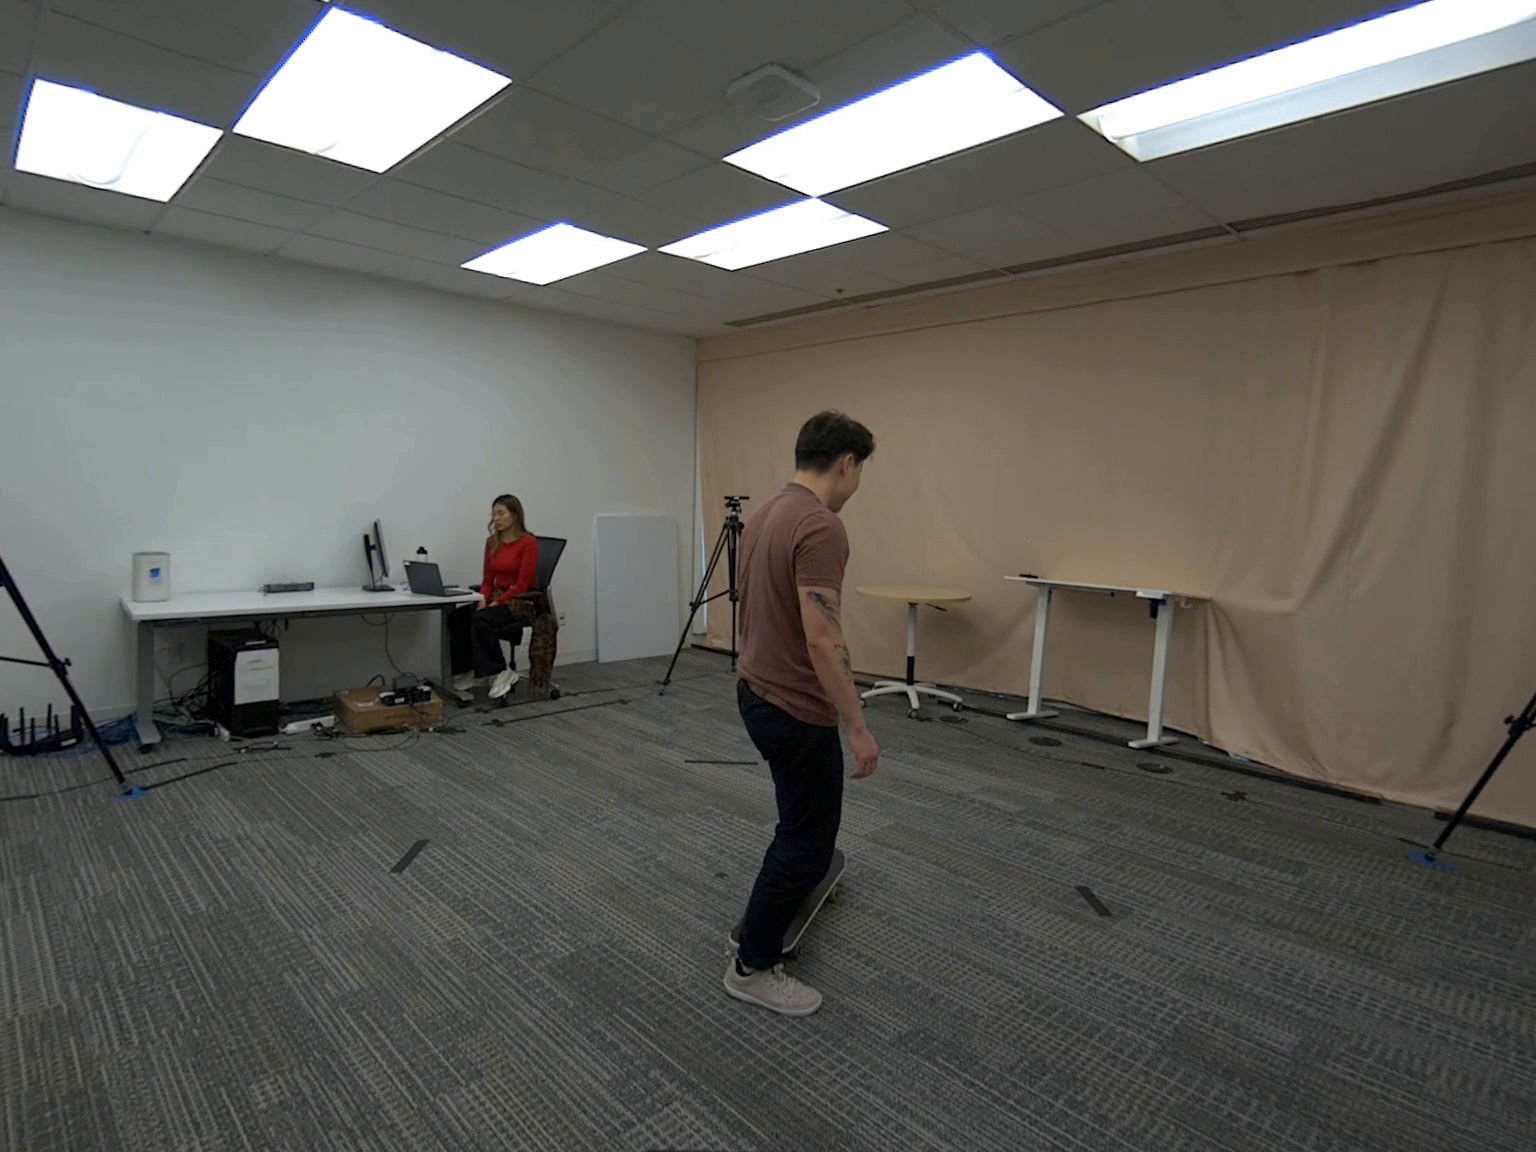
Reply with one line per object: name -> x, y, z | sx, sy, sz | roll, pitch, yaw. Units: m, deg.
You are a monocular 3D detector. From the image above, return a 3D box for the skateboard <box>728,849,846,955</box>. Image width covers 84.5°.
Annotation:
skateboard -> 0.091, 1.089, 2.759 | 0.197, 0.110, 0.774 | 3, 6, 21
